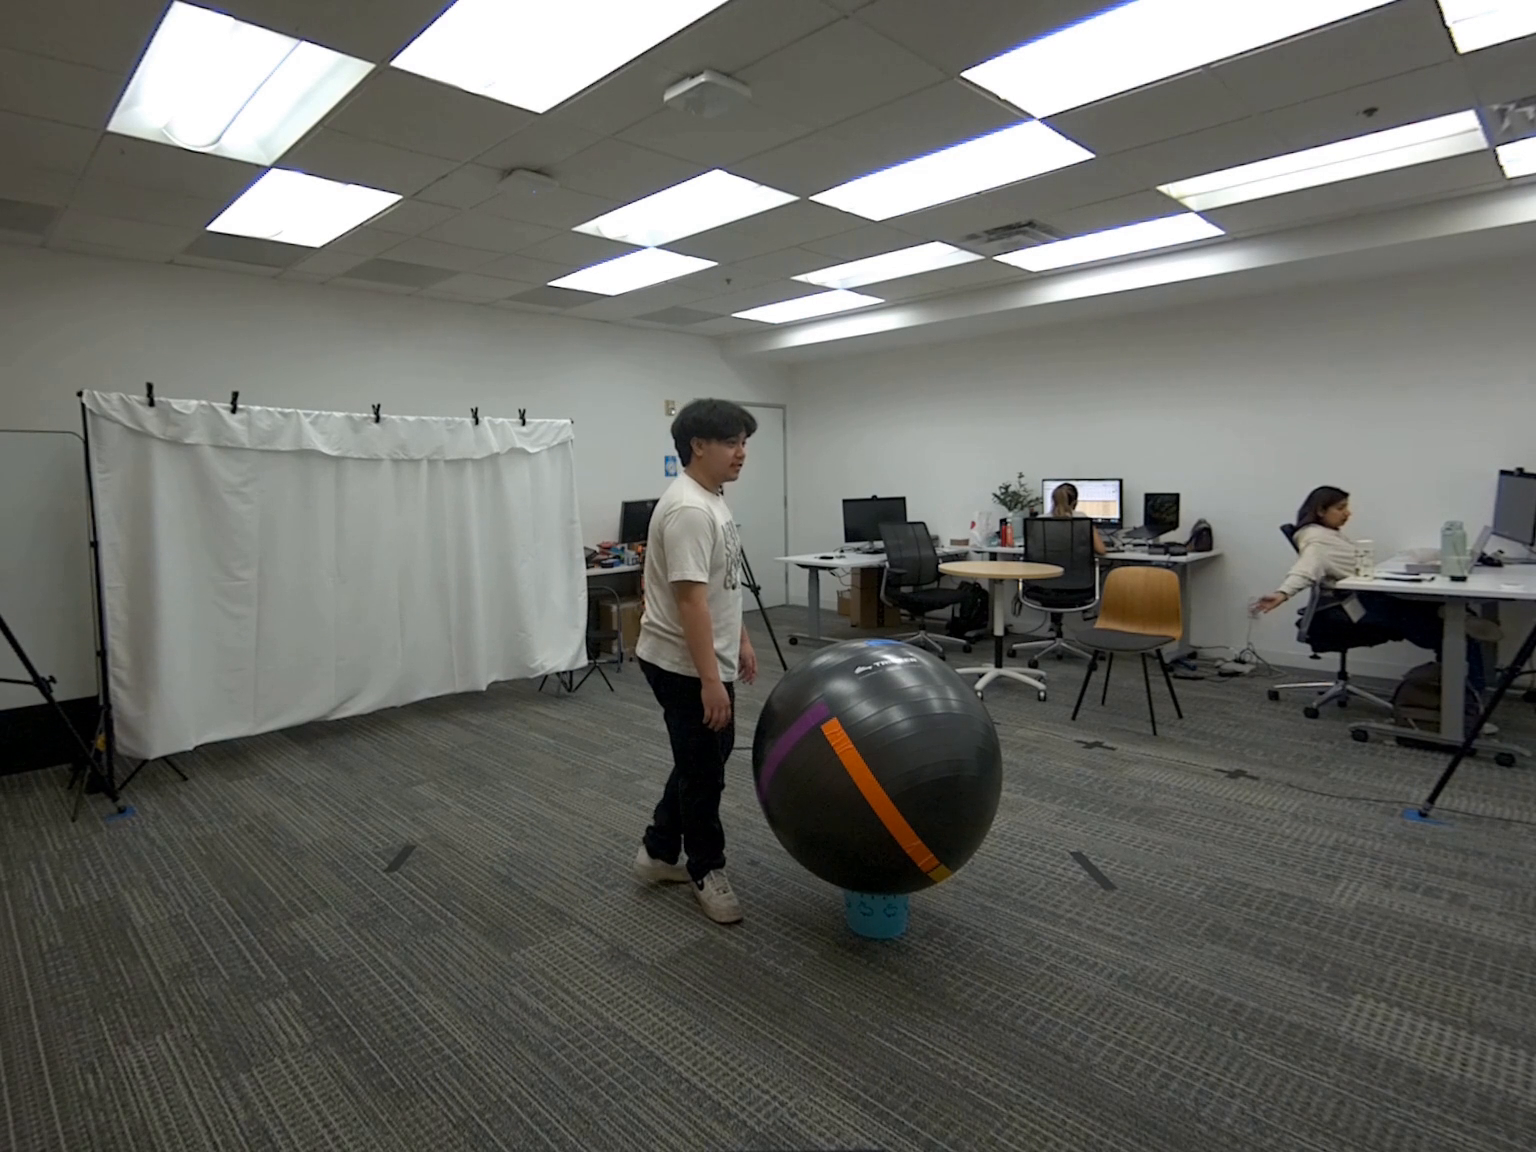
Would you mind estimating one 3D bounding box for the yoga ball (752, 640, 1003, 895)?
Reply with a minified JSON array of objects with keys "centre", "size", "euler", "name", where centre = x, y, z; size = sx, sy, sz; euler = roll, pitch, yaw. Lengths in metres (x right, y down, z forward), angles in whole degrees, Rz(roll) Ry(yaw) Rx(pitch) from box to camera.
[{"centre":[0.328,0.576,2.639],"size":[0.757,0.755,0.762],"euler":[-1,5,-2],"name":"yoga ball"}]
